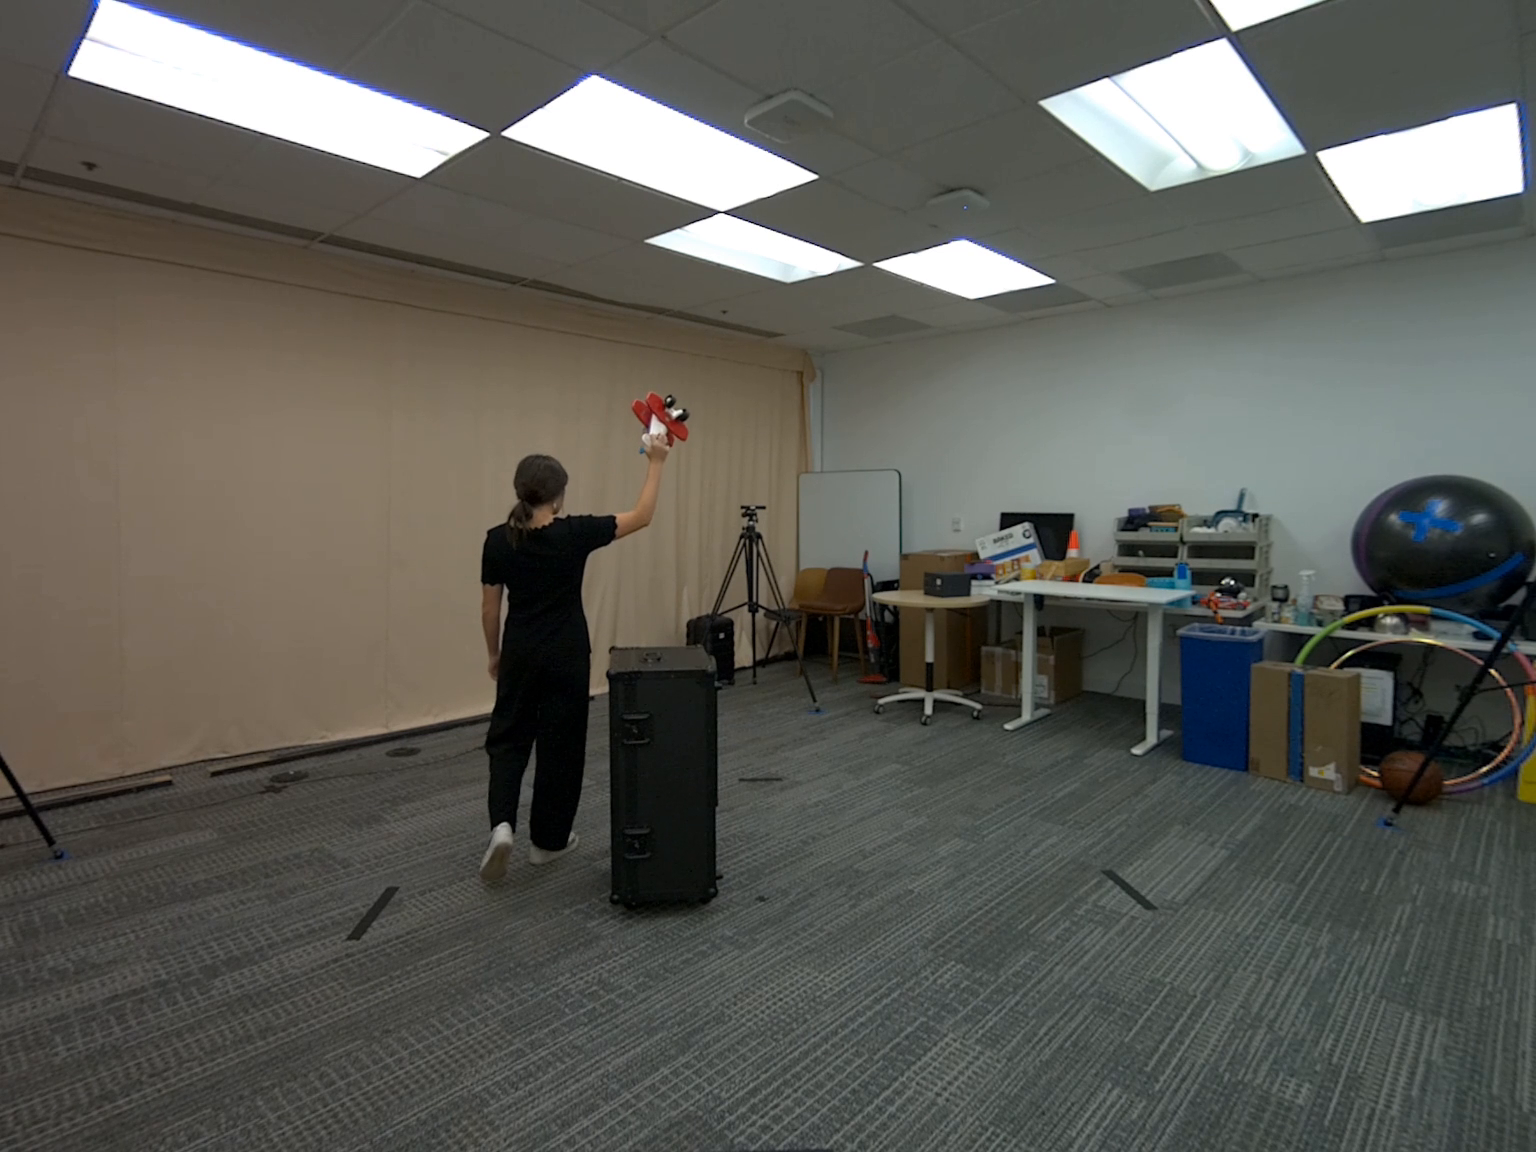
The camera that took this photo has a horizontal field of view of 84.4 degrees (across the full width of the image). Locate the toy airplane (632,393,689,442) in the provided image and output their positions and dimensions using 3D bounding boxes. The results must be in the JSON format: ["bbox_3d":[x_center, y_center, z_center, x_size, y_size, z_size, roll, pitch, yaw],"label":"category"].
[{"bbox_3d":[-0.440,-0.614,3.375,0.161,0.247,0.255,-5,24,43],"label":"toy airplane"}]
